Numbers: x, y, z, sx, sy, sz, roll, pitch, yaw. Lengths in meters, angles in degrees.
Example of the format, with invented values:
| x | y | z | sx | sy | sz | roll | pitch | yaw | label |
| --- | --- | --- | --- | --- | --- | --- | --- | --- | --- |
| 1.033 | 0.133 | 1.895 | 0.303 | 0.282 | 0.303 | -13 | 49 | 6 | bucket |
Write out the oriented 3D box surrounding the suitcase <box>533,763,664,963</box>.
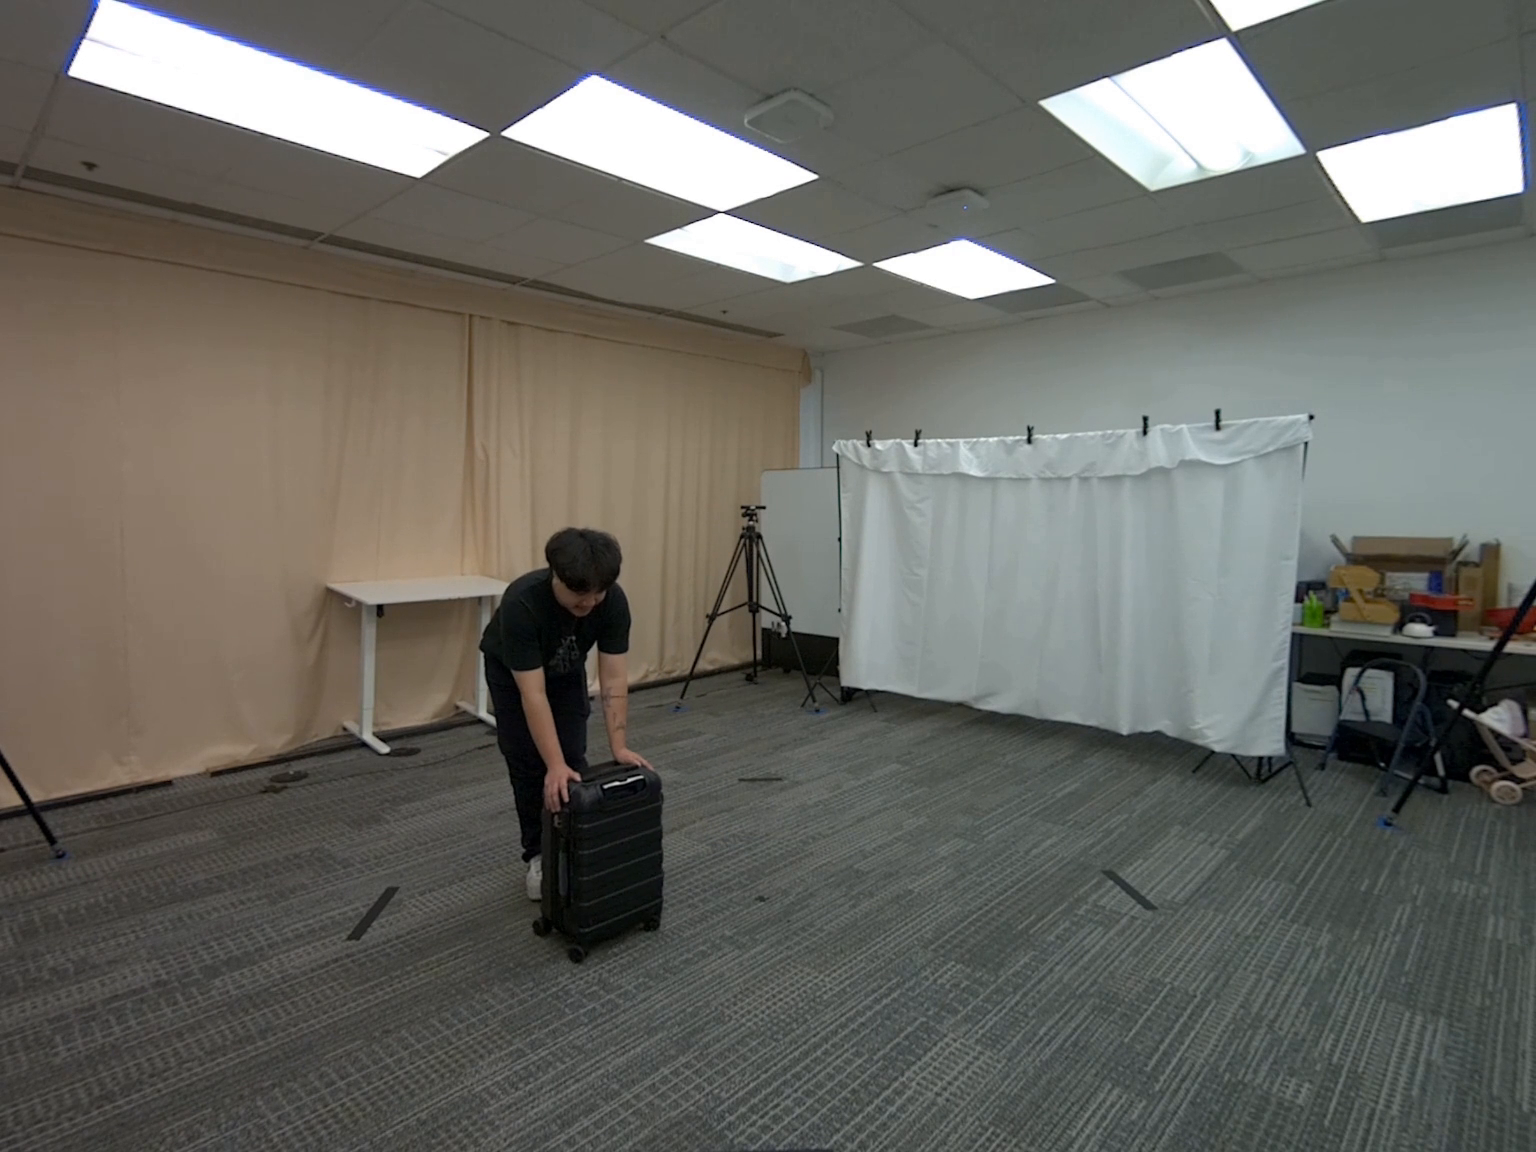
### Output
| x | y | z | sx | sy | sz | roll | pitch | yaw | label |
| --- | --- | --- | --- | --- | --- | --- | --- | --- | --- |
| -0.542 | 0.897 | 2.737 | 0.257 | 0.548 | 0.364 | 5 | 5 | 45 | suitcase |
